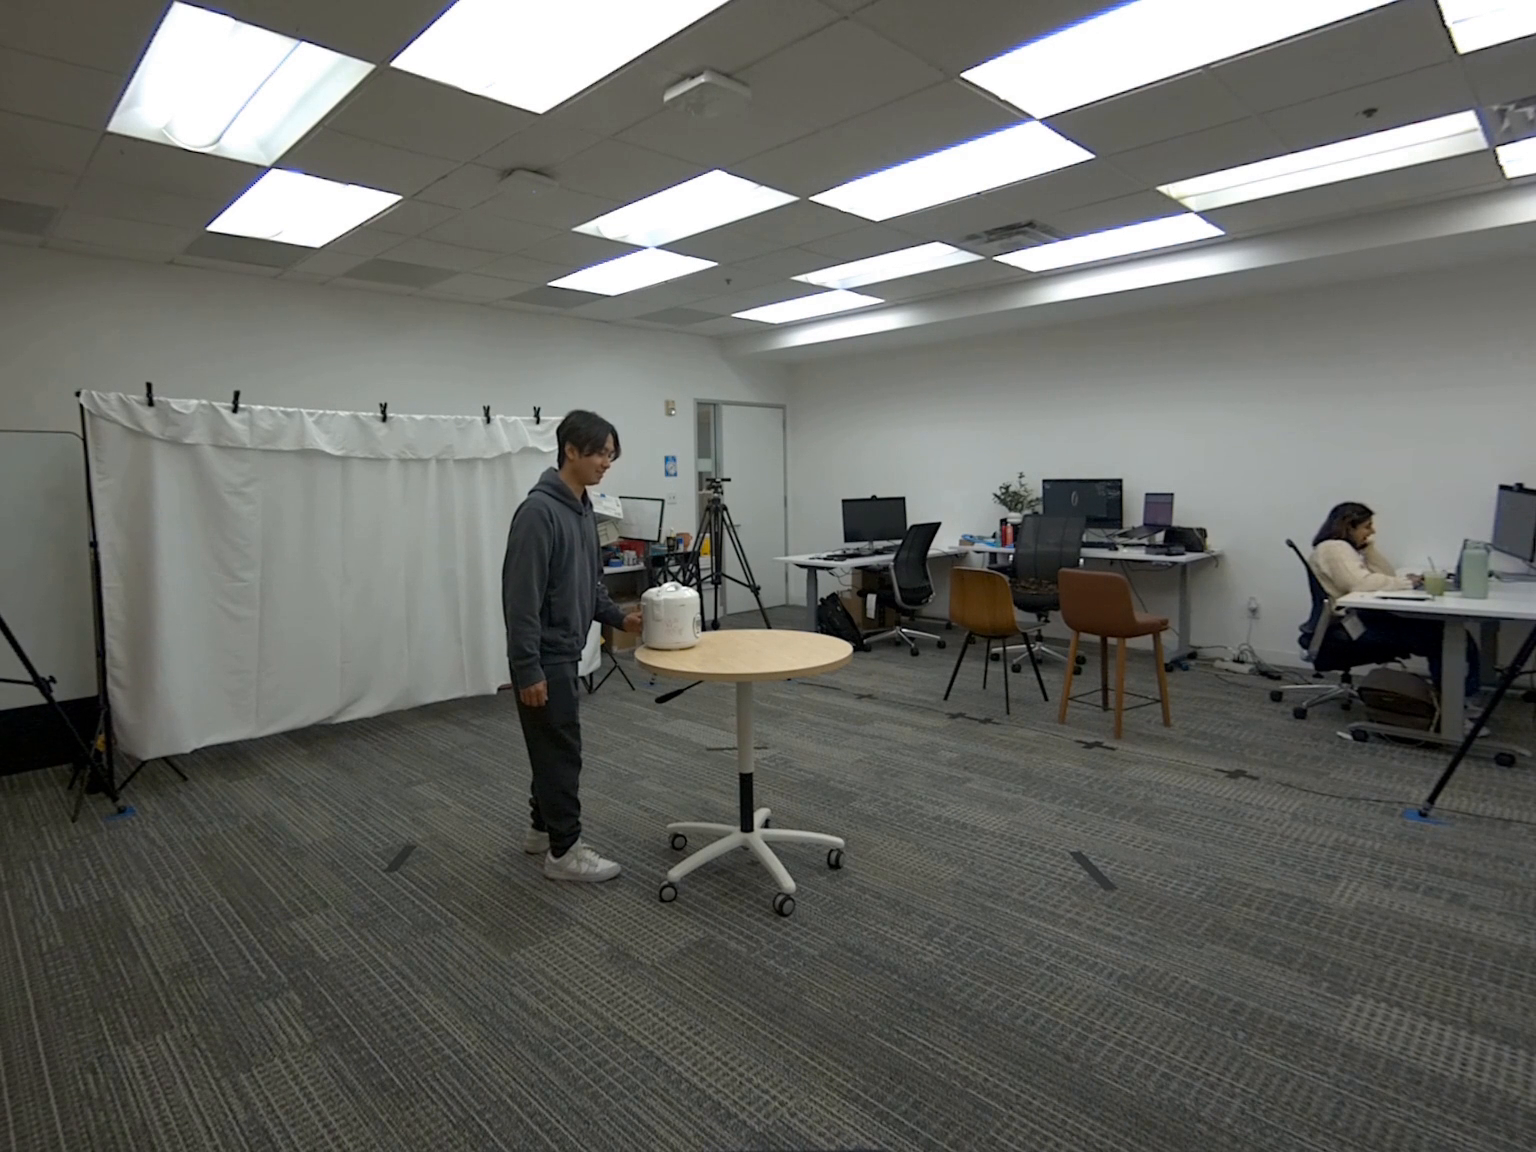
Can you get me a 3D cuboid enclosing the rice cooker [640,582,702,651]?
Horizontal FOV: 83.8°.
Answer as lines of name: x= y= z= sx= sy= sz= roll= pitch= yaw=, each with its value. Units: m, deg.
rice cooker: x=-0.350 y=0.137 z=3.087 sx=0.222 sy=0.232 sz=0.217 roll=0 pitch=5 yaw=23
